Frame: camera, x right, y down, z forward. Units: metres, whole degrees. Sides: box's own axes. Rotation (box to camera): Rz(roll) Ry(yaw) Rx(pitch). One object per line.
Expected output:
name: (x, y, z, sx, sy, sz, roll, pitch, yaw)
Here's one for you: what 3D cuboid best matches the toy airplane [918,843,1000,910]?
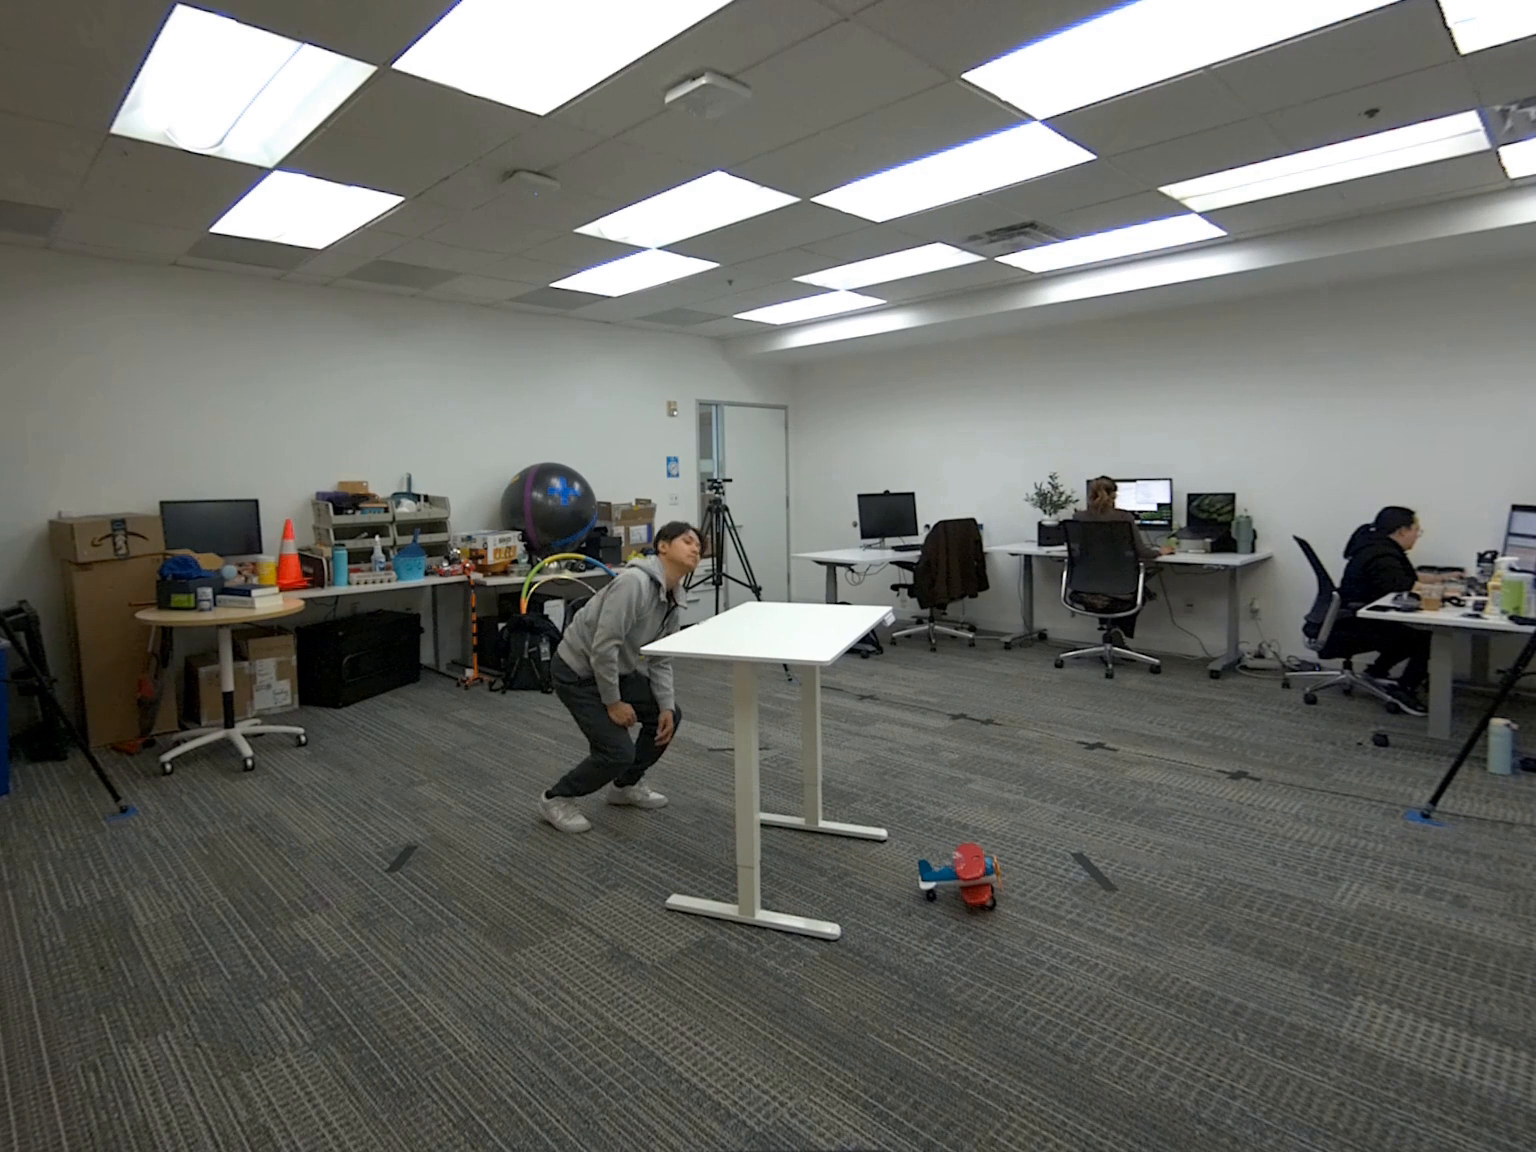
toy airplane: (0.639, 0.998, 2.787, 0.255, 0.156, 0.256, -2, 5, -17)
